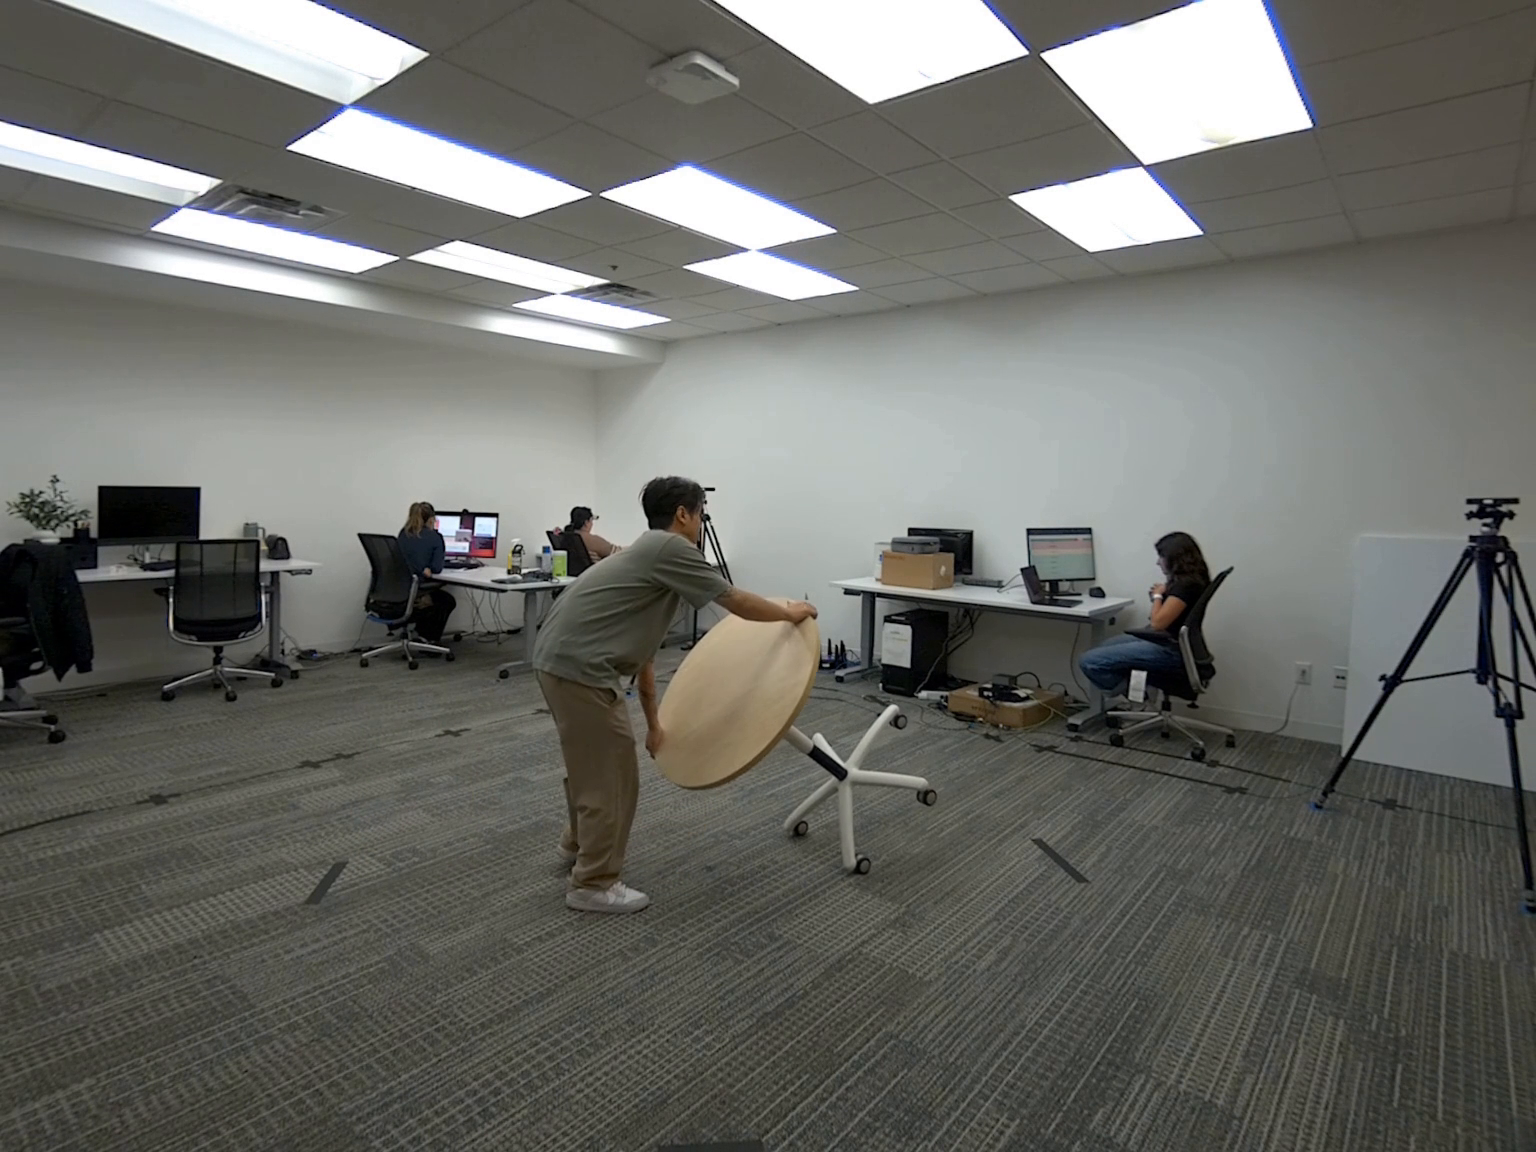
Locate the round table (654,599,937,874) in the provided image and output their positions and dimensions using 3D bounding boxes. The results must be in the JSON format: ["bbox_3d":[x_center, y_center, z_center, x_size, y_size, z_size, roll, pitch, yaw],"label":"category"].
[{"bbox_3d":[0.123,0.616,3.177,0.760,0.787,0.809,42,-17,-27],"label":"round table"}]
